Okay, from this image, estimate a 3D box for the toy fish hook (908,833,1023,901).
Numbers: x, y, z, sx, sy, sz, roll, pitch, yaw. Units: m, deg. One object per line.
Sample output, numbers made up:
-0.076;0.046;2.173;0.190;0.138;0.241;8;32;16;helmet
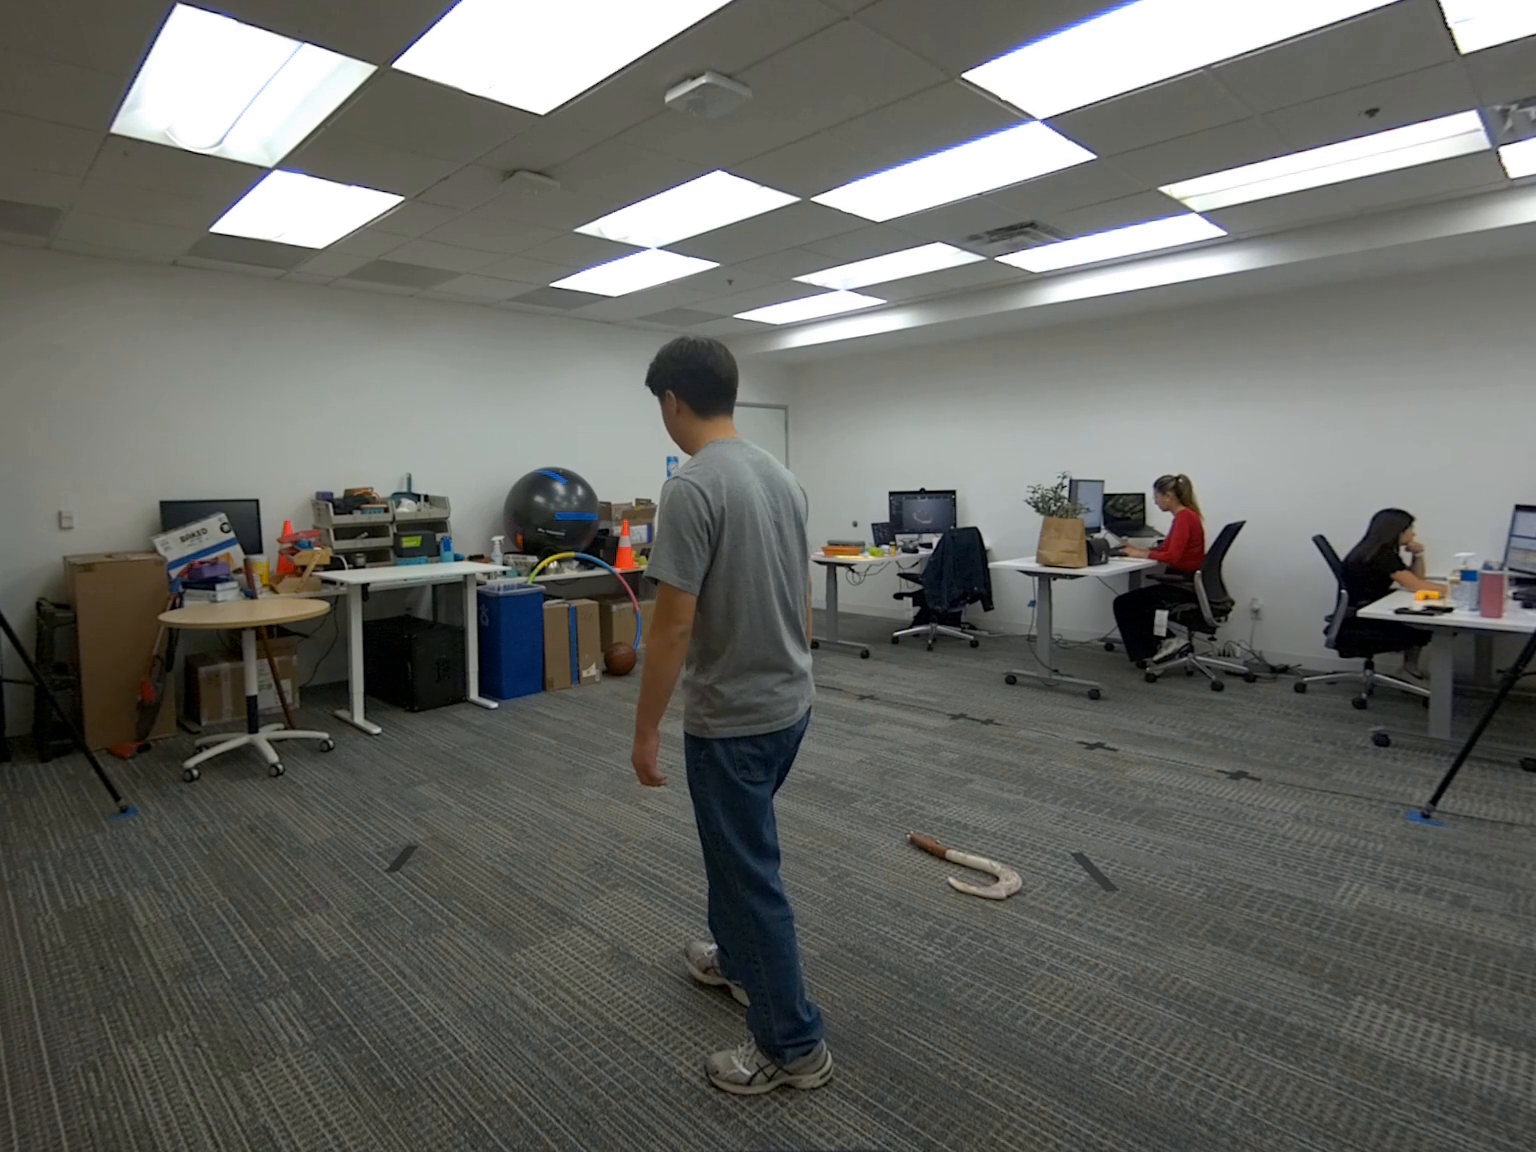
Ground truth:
0.654;1.018;3.029;0.219;0.048;0.522;-5;7;-36;toy fish hook
